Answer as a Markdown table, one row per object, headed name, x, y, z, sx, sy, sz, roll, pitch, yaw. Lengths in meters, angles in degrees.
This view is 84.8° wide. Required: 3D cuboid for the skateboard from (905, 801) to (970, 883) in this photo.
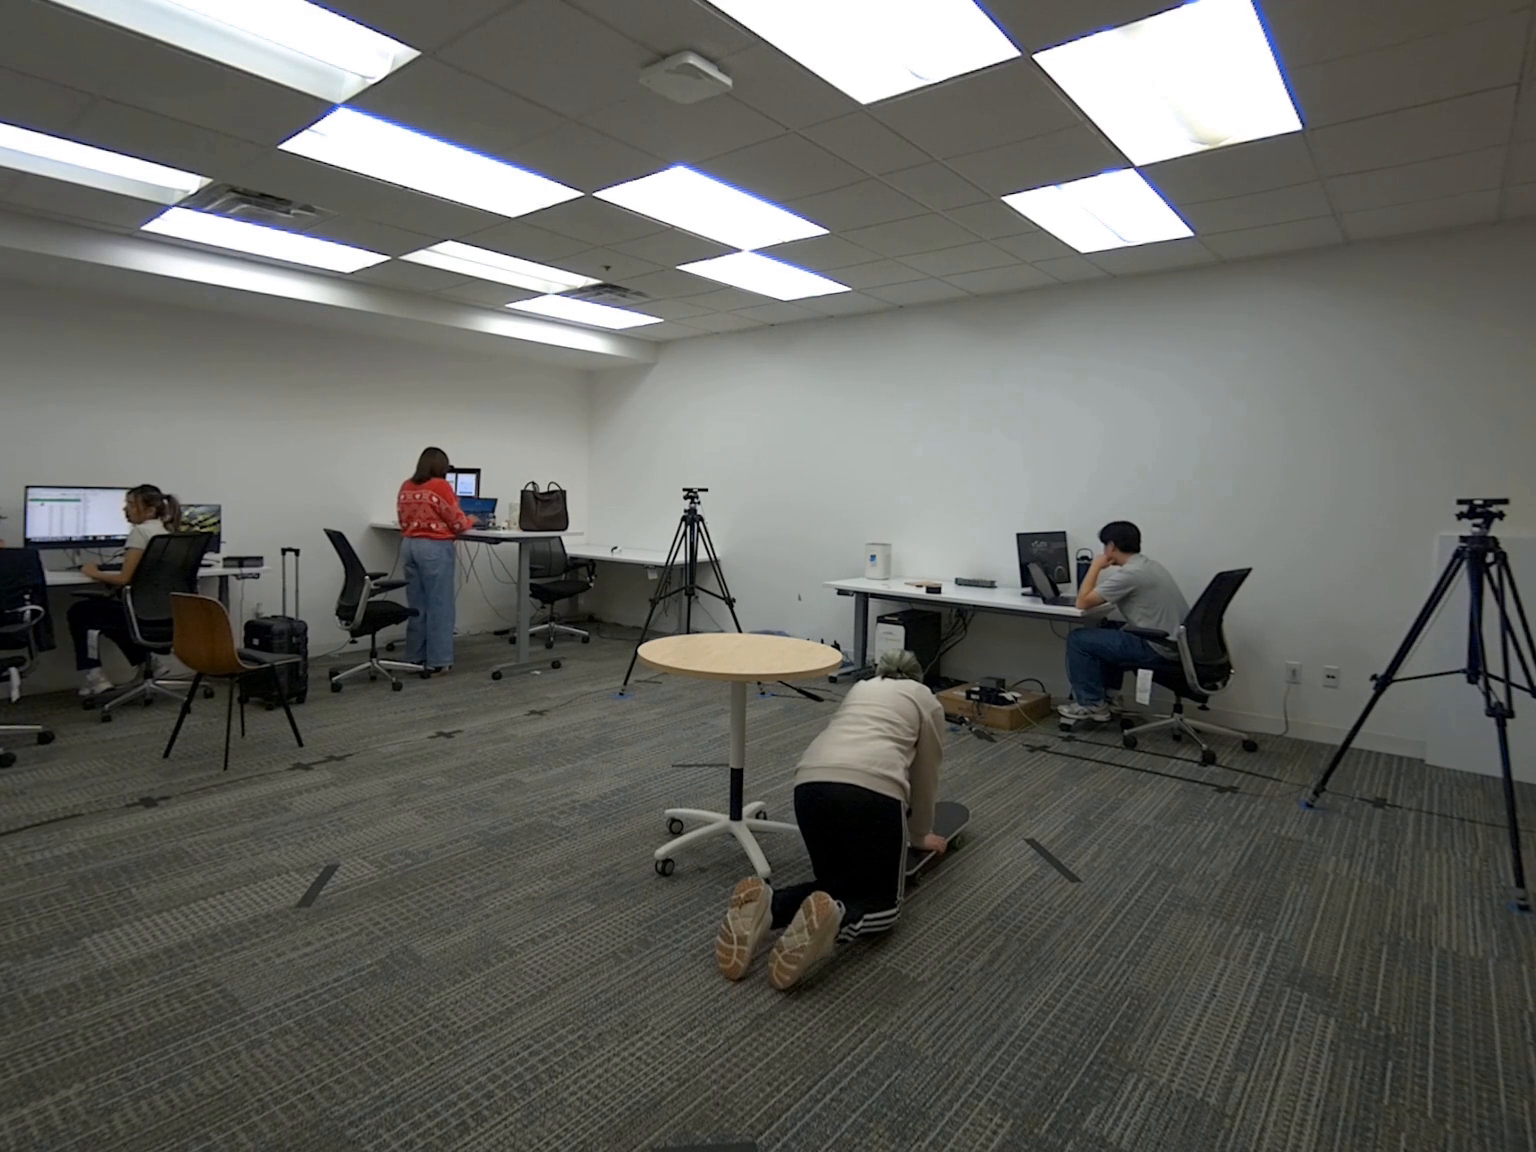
| name | x | y | z | sx | sy | sz | roll | pitch | yaw |
| --- | --- | --- | --- | --- | --- | --- | --- | --- | --- |
| skateboard | 0.562 | 1.019 | 3.224 | 0.200 | 0.110 | 0.764 | 6 | 8 | 33 |
